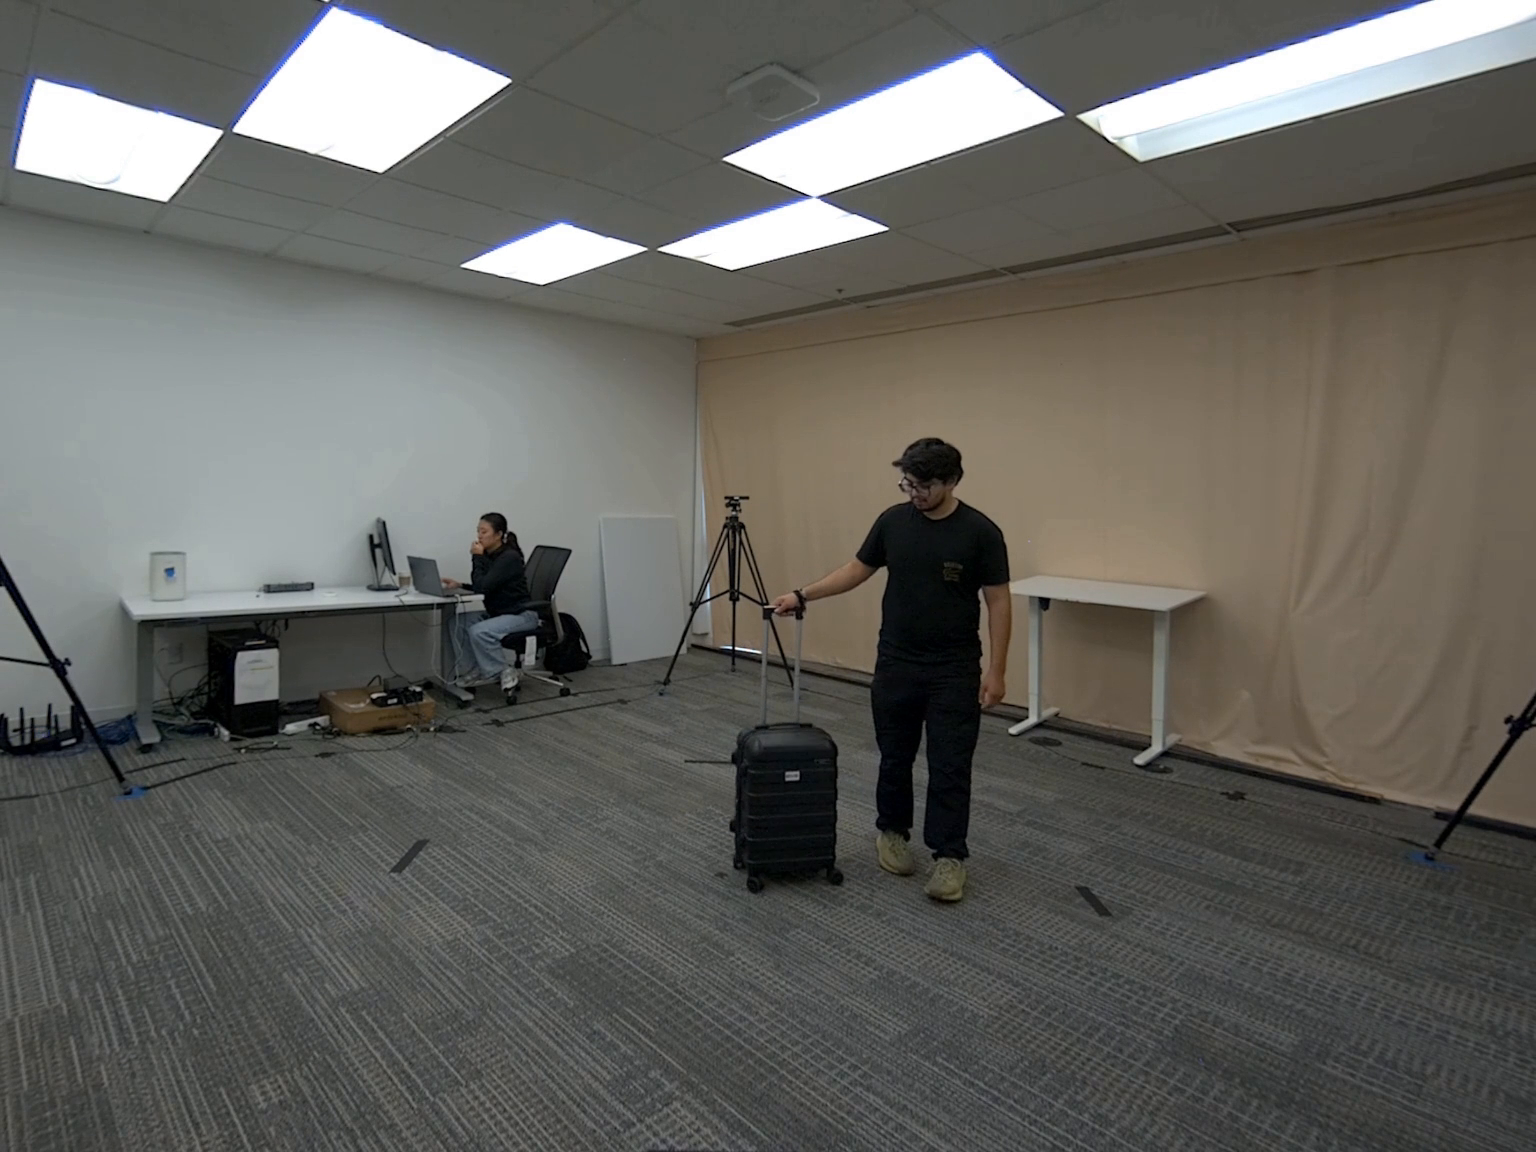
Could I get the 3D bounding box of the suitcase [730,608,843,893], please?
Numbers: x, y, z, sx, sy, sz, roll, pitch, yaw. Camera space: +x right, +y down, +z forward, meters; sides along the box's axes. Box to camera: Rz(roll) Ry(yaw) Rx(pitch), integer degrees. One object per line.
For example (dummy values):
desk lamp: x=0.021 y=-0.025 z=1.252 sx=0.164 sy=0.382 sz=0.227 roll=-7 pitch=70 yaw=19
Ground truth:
suitcase: x=0.067 y=0.627 z=3.092 sx=0.380 sy=0.976 sz=0.260 roll=0 pitch=4 yaw=-12
